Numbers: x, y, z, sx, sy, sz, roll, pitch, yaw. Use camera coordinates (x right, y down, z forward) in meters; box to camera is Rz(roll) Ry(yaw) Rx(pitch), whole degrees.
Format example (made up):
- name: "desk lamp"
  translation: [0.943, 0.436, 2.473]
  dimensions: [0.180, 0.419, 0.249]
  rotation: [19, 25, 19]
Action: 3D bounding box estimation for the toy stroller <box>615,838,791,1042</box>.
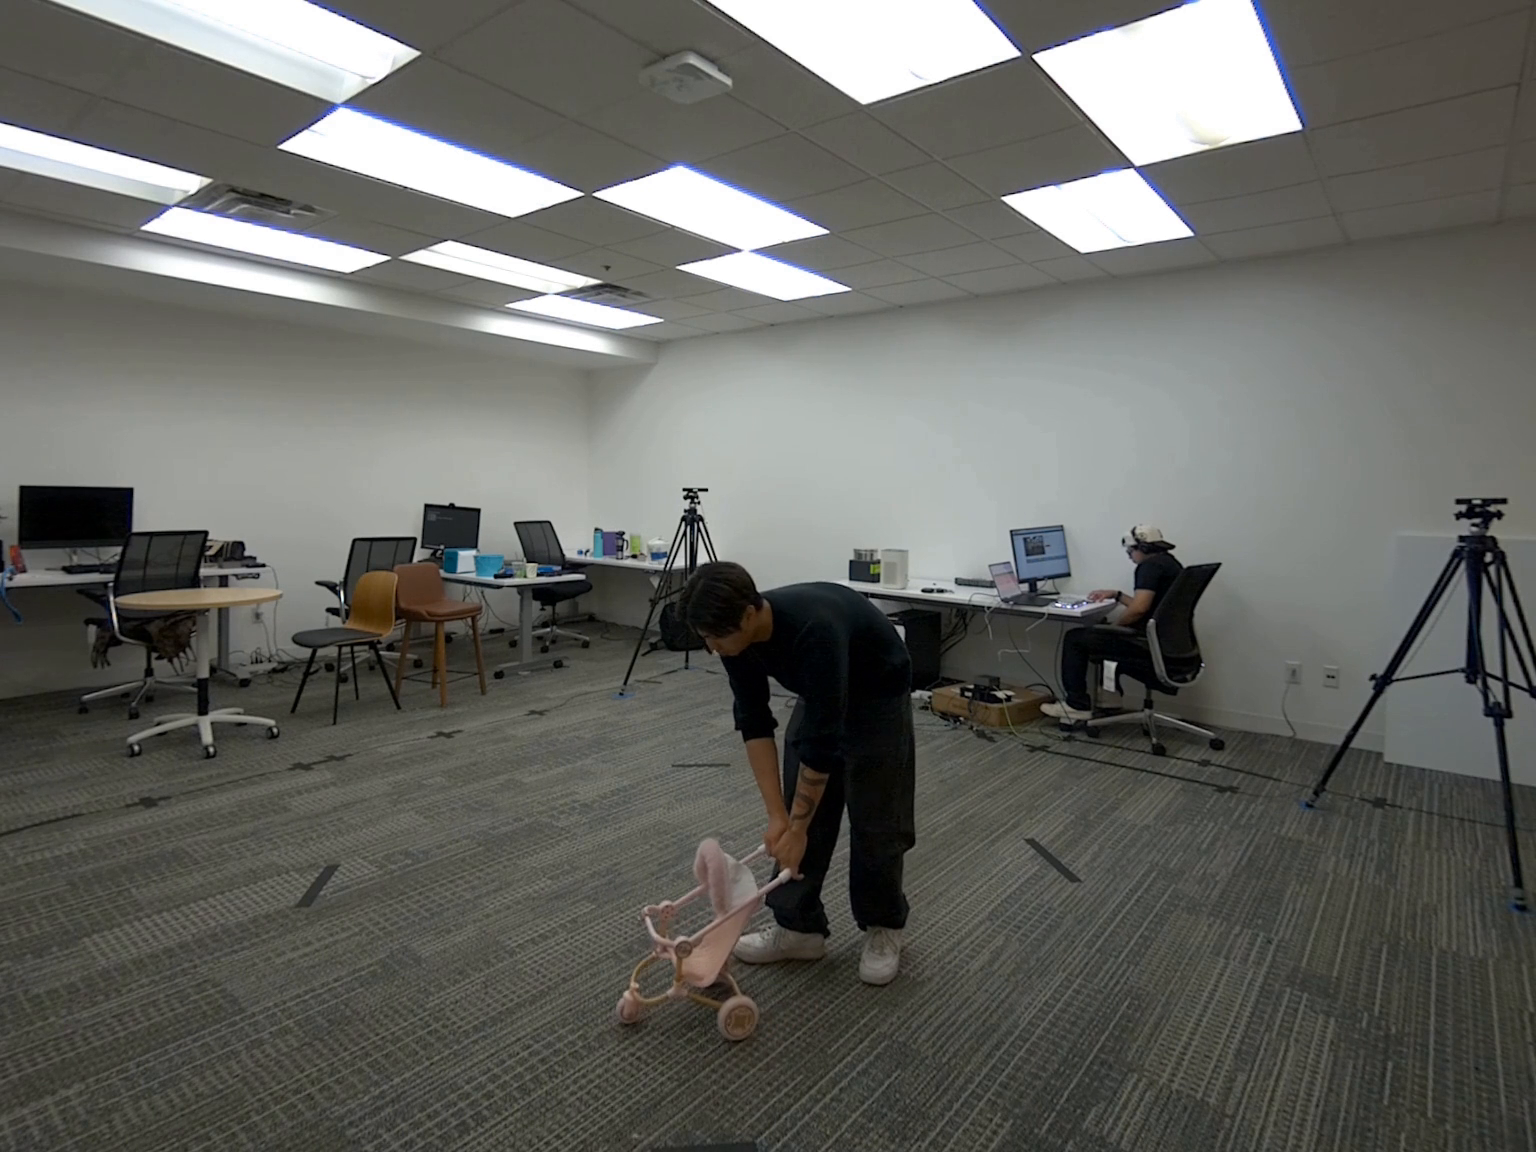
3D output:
- name: "toy stroller"
  translation: [-0.179, 0.934, 2.249]
  dimensions: [0.336, 0.535, 0.286]
  rotation: [18, 0, -13]
